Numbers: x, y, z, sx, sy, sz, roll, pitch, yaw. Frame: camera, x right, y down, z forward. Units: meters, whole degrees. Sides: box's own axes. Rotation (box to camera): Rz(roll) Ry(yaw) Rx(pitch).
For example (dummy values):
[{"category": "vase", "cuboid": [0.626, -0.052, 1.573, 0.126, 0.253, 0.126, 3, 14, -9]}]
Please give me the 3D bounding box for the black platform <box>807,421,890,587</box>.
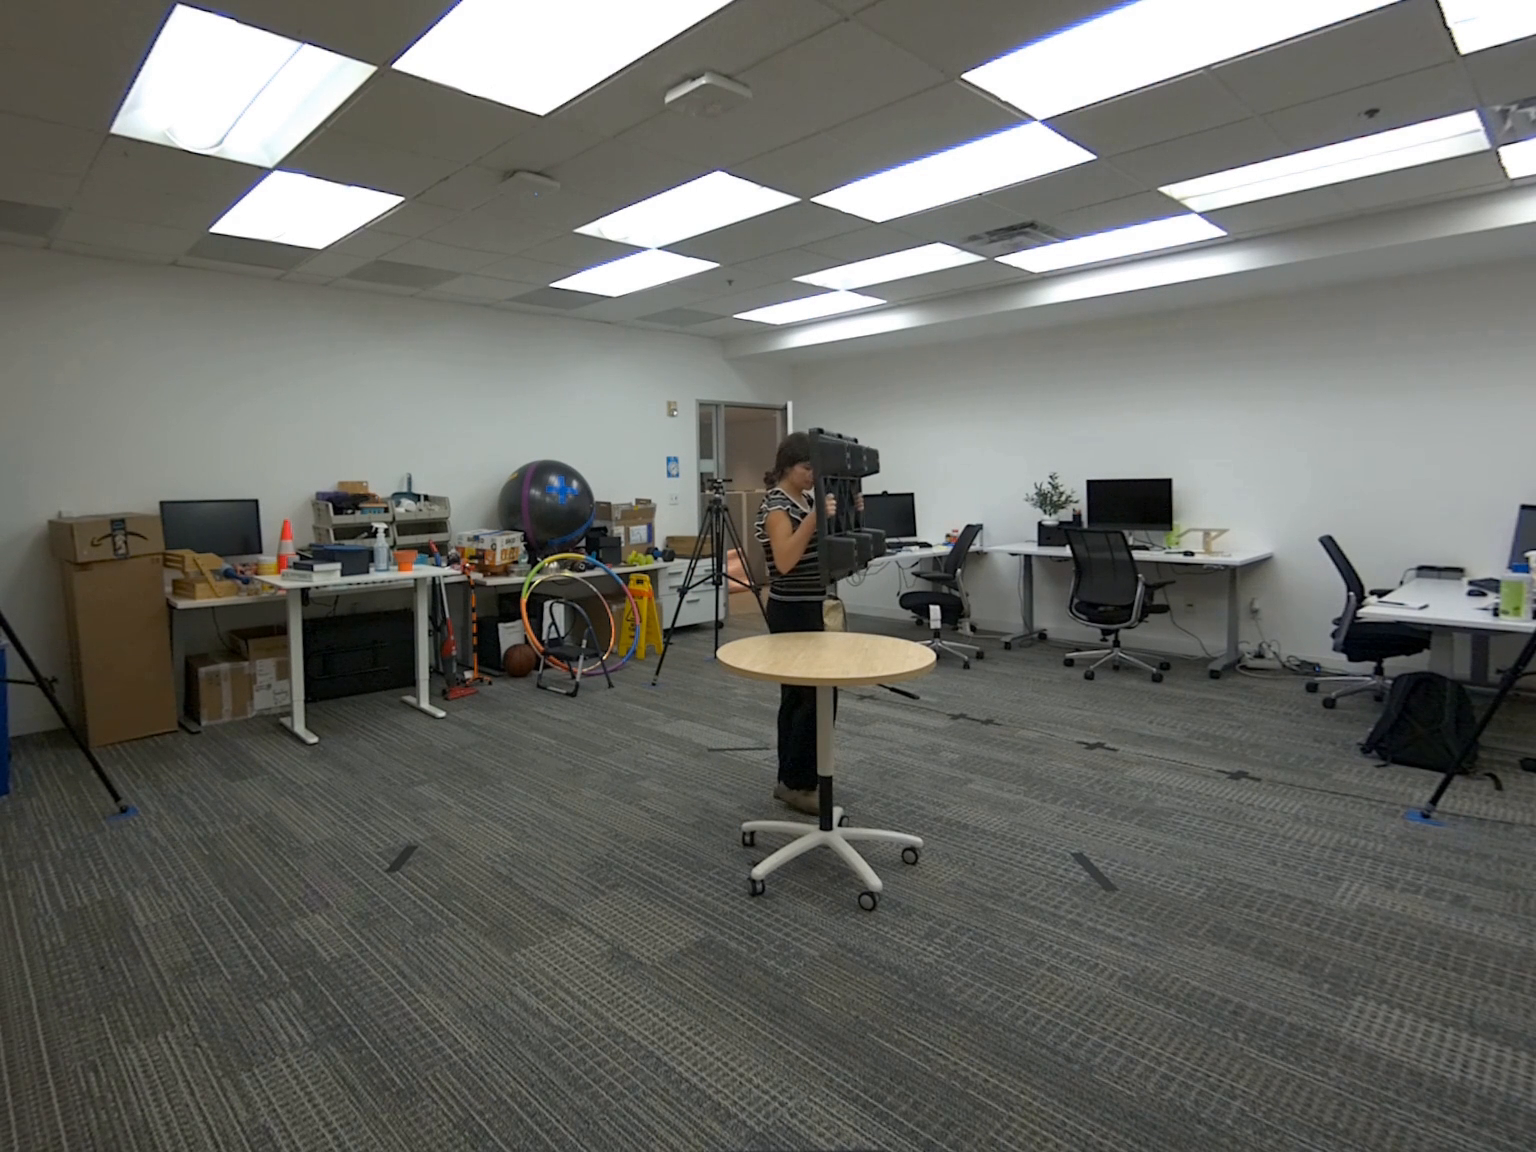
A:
[{"category": "black platform", "cuboid": [0.349, -0.306, 3.561, 0.146, 0.604, 0.794, -4, 3, 17]}]
